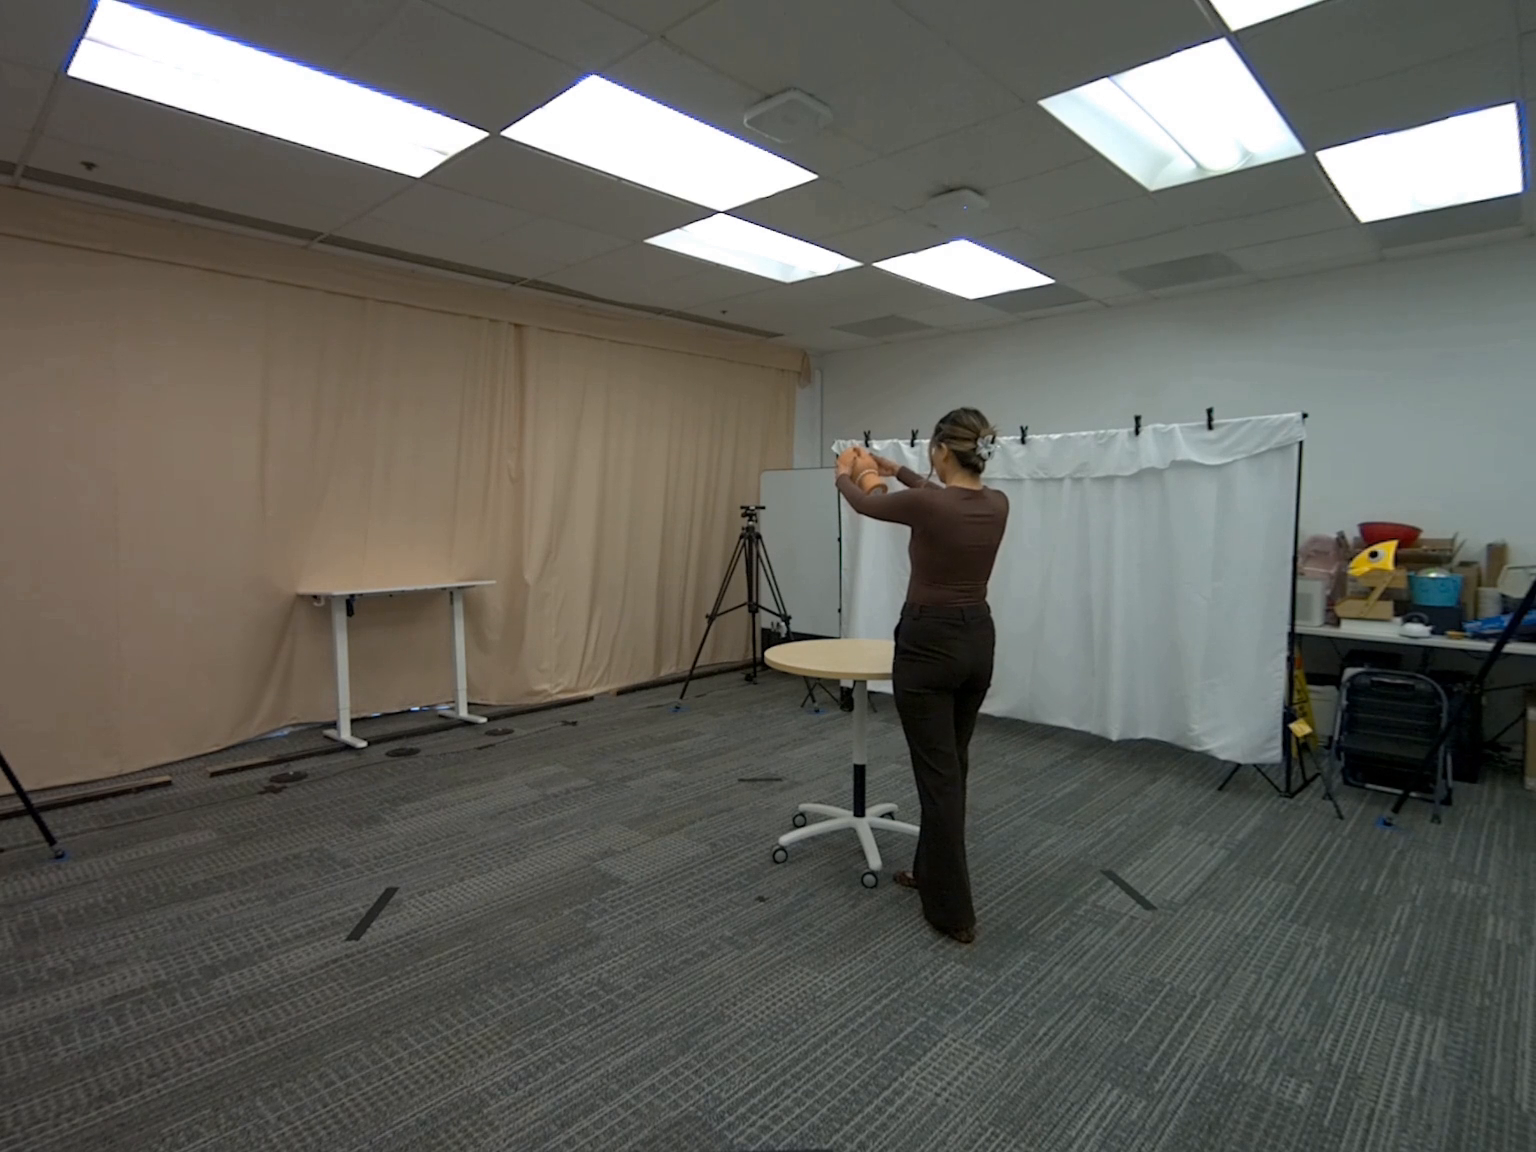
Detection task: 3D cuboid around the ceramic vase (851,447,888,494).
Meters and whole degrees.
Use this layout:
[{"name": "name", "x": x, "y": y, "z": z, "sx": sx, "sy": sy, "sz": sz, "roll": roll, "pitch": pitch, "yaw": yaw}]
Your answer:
[{"name": "ceramic vase", "x": 0.381, "y": -0.391, "z": 3.303, "sx": 0.153, "sy": 0.135, "sz": 0.227, "roll": 26, "pitch": 27, "yaw": -45}]
